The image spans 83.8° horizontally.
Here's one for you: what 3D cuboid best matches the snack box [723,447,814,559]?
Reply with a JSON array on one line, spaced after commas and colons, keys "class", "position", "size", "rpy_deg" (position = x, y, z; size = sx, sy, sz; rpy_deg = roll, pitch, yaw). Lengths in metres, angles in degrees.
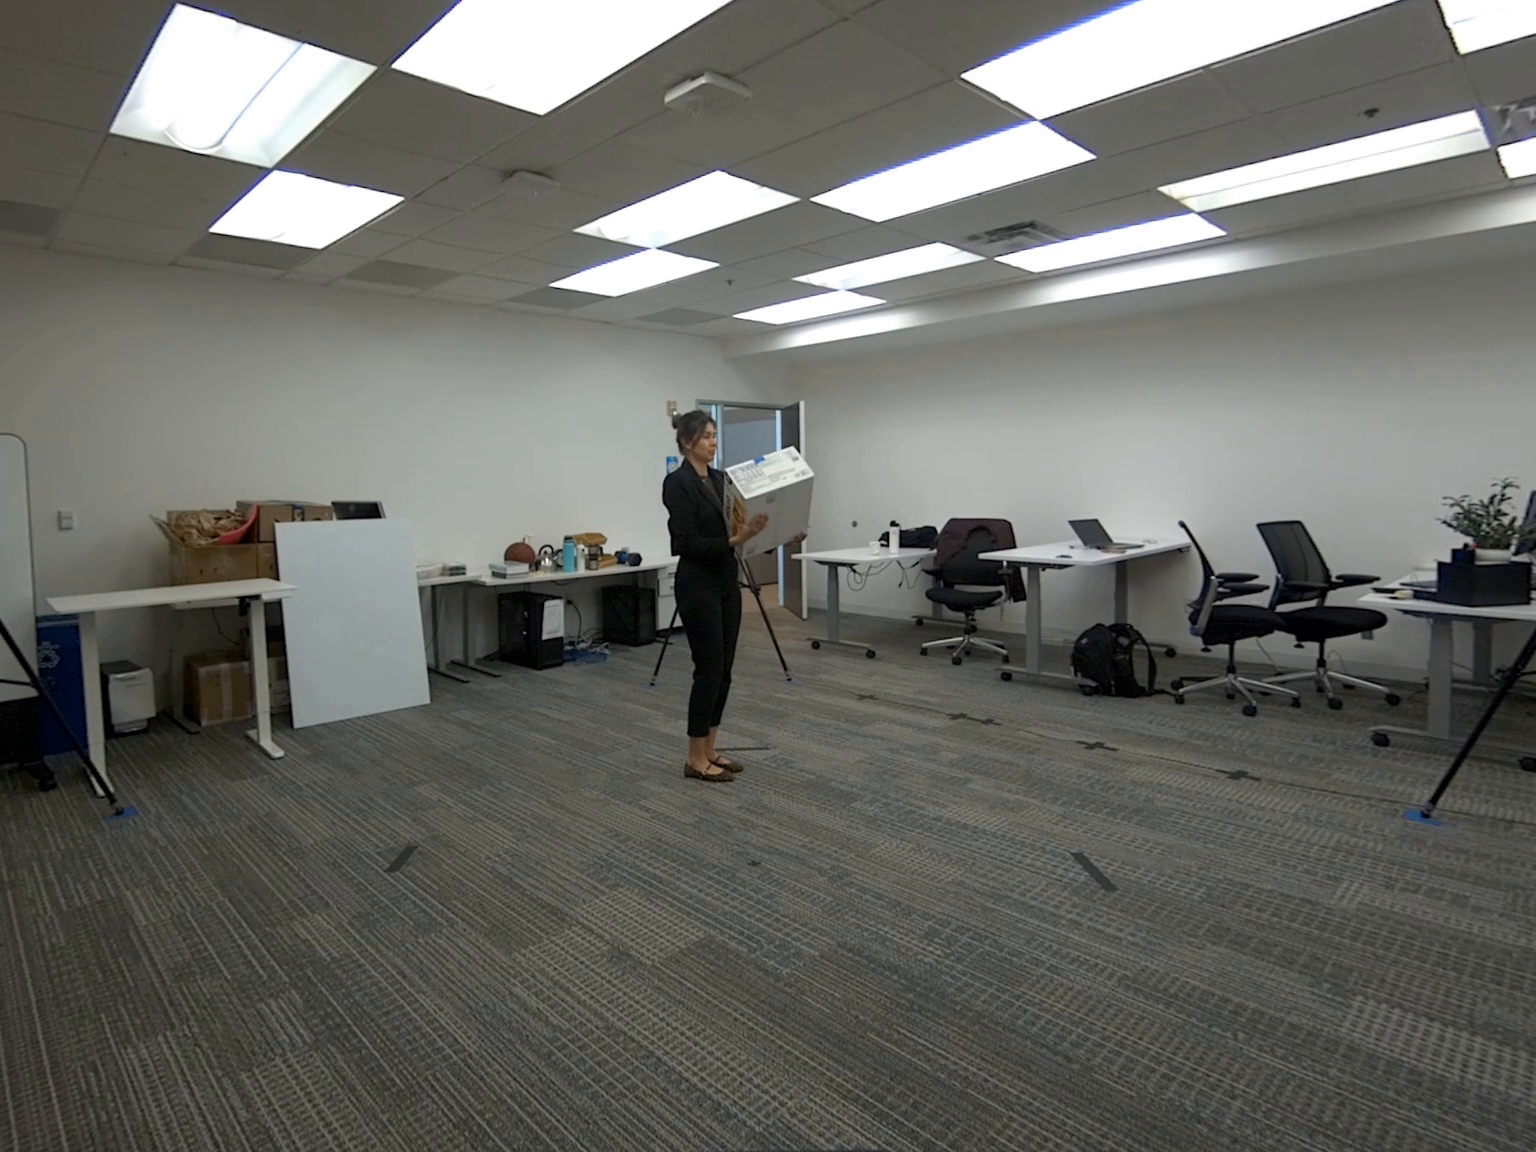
[{"class": "snack box", "position": [0.007, -0.331, 3.826], "size": [0.337, 0.213, 0.395], "rpy_deg": [-20, -35, -18]}]
